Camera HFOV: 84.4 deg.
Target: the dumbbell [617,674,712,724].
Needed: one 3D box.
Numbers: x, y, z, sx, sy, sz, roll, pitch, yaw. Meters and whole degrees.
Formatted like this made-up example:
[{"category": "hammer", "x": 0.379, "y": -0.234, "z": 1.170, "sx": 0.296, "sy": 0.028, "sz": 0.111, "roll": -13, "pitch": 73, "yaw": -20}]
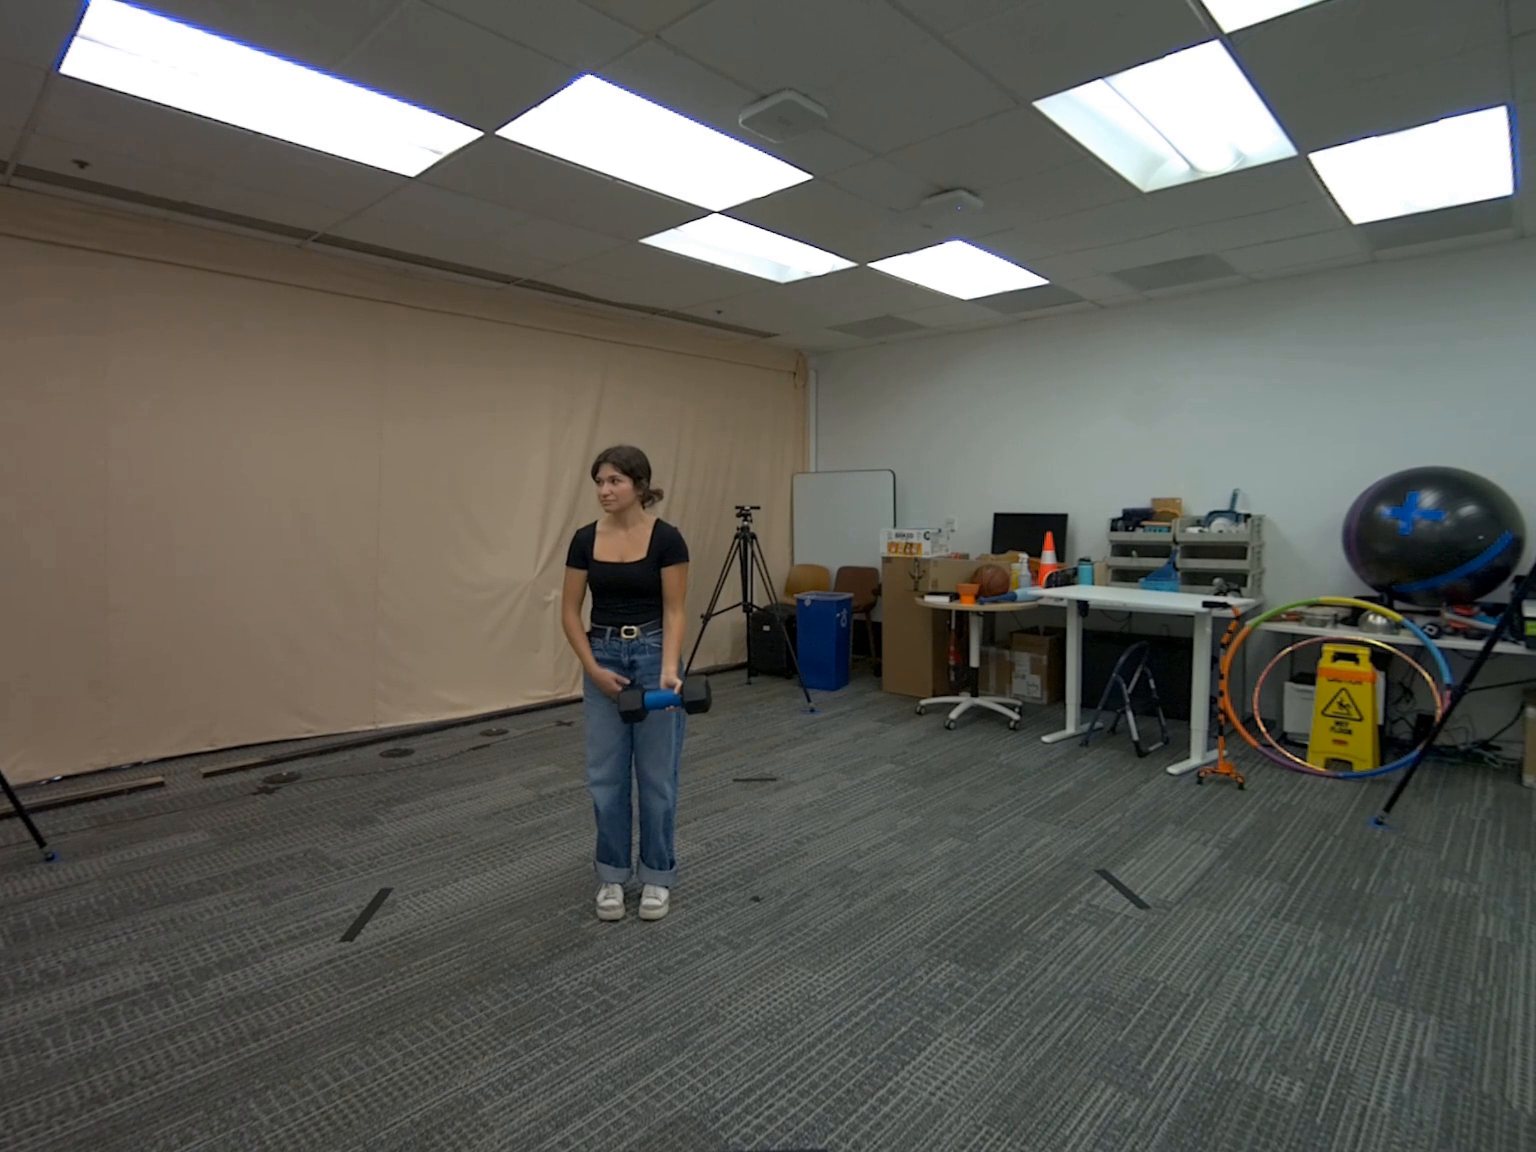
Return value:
[{"category": "dumbbell", "x": -0.344, "y": 0.388, "z": 2.703, "sx": 0.296, "sy": 0.125, "sz": 0.106, "roll": -9, "pitch": -23, "yaw": 7}]
